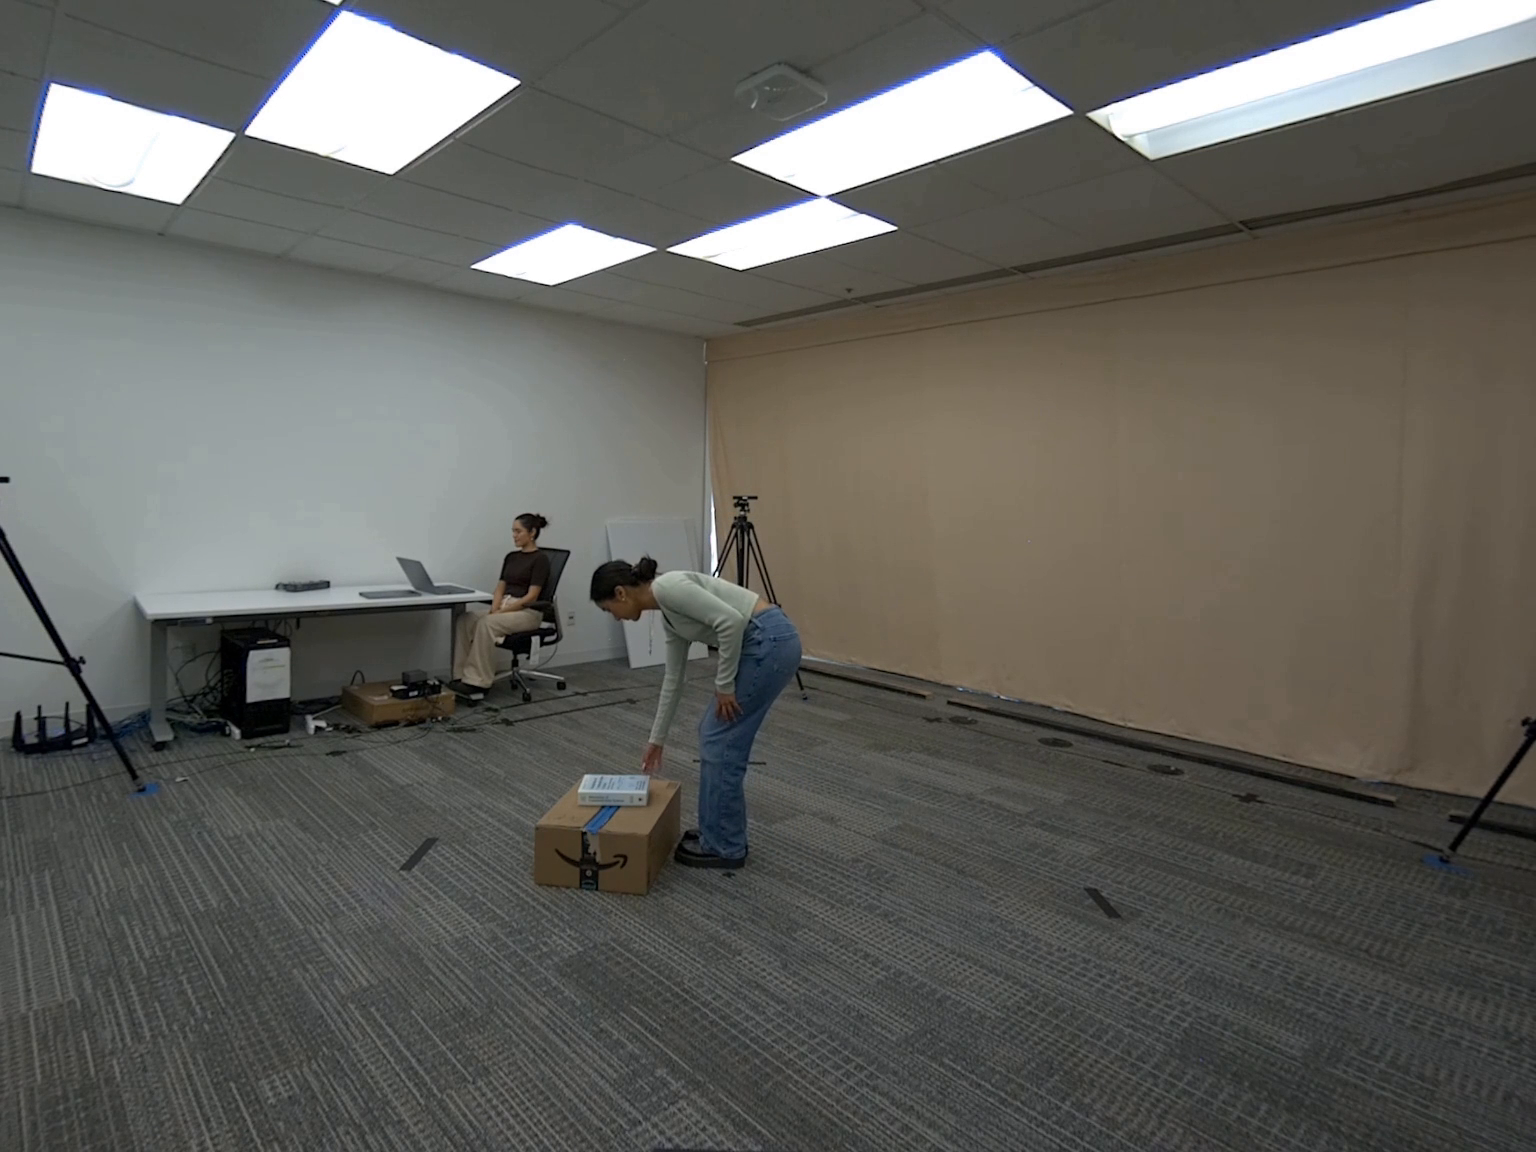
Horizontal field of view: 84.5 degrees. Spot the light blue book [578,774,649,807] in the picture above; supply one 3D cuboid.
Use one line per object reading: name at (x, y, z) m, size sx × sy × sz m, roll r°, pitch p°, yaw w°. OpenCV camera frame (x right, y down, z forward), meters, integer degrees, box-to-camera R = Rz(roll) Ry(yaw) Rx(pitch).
light blue book at (-0.598, 0.830, 3.286) m, size 0.261 × 0.059 × 0.192 m, roll 2°, pitch 5°, yaw -2°
